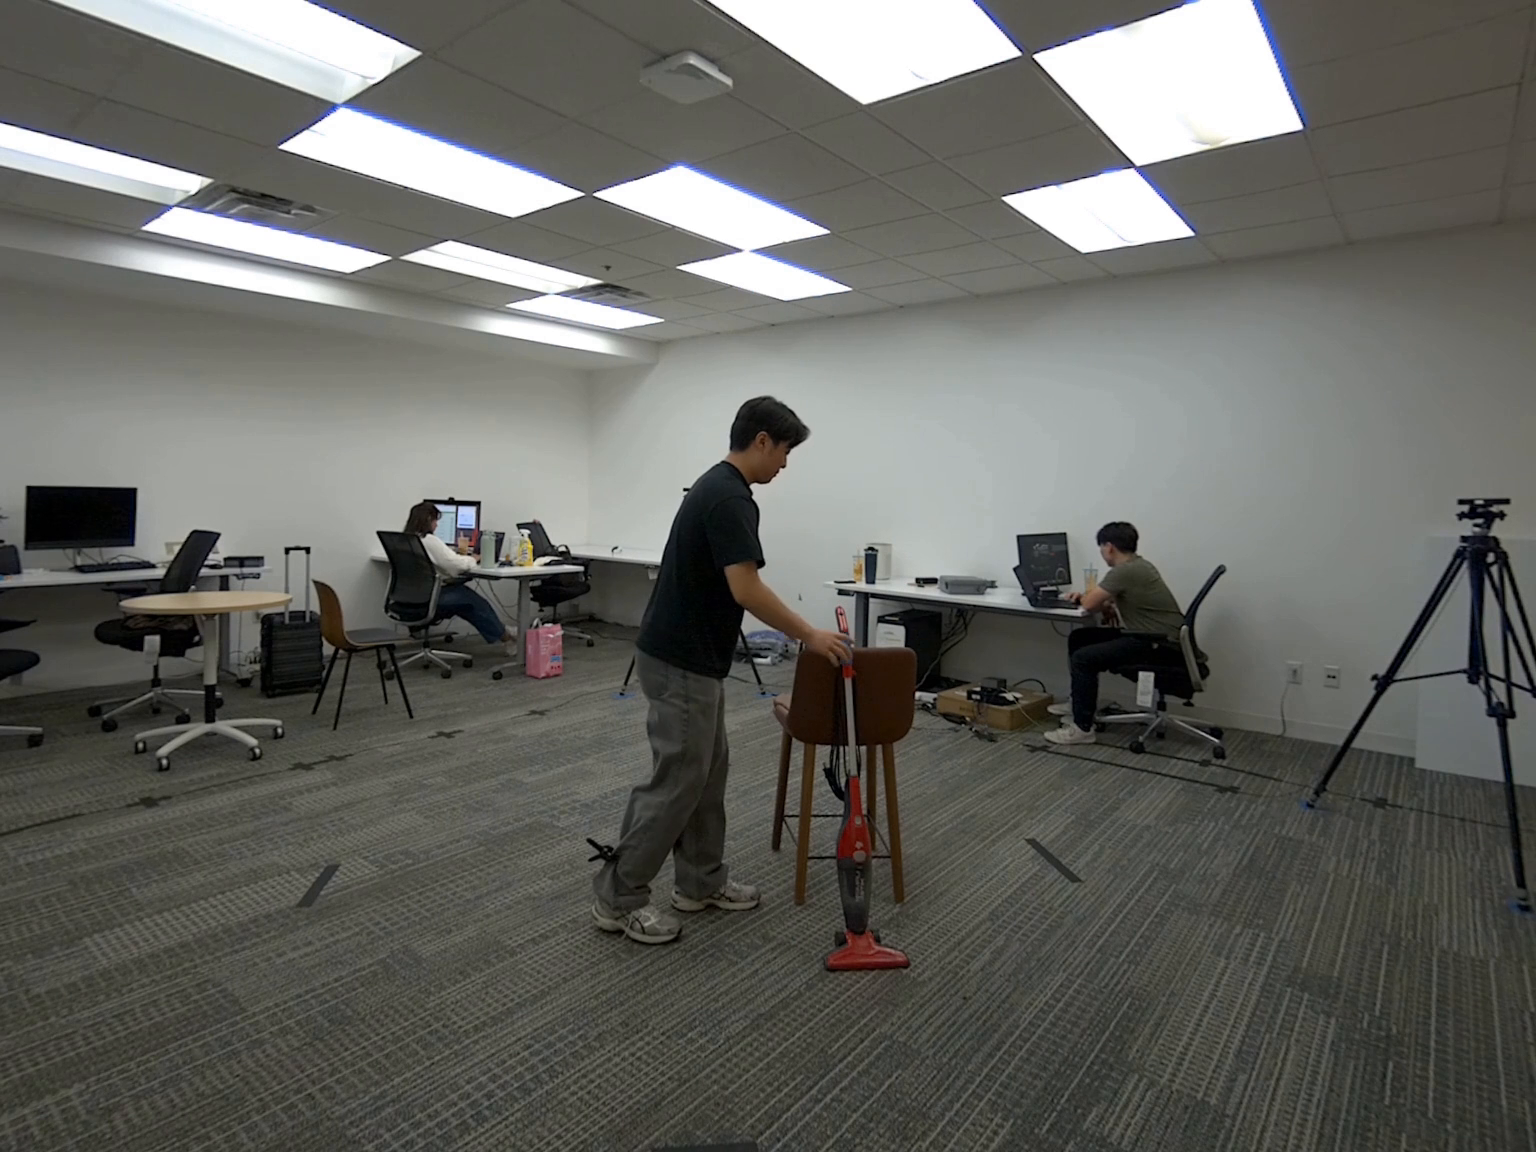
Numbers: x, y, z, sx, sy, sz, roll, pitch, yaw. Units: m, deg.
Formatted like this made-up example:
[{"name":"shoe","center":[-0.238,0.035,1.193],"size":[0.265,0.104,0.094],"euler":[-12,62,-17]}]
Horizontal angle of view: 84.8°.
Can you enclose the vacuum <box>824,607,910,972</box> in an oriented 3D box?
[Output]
[{"name":"vacuum","center":[0.253,0.622,2.667],"size":[0.248,1.064,0.145],"euler":[1,-14,-18]}]
